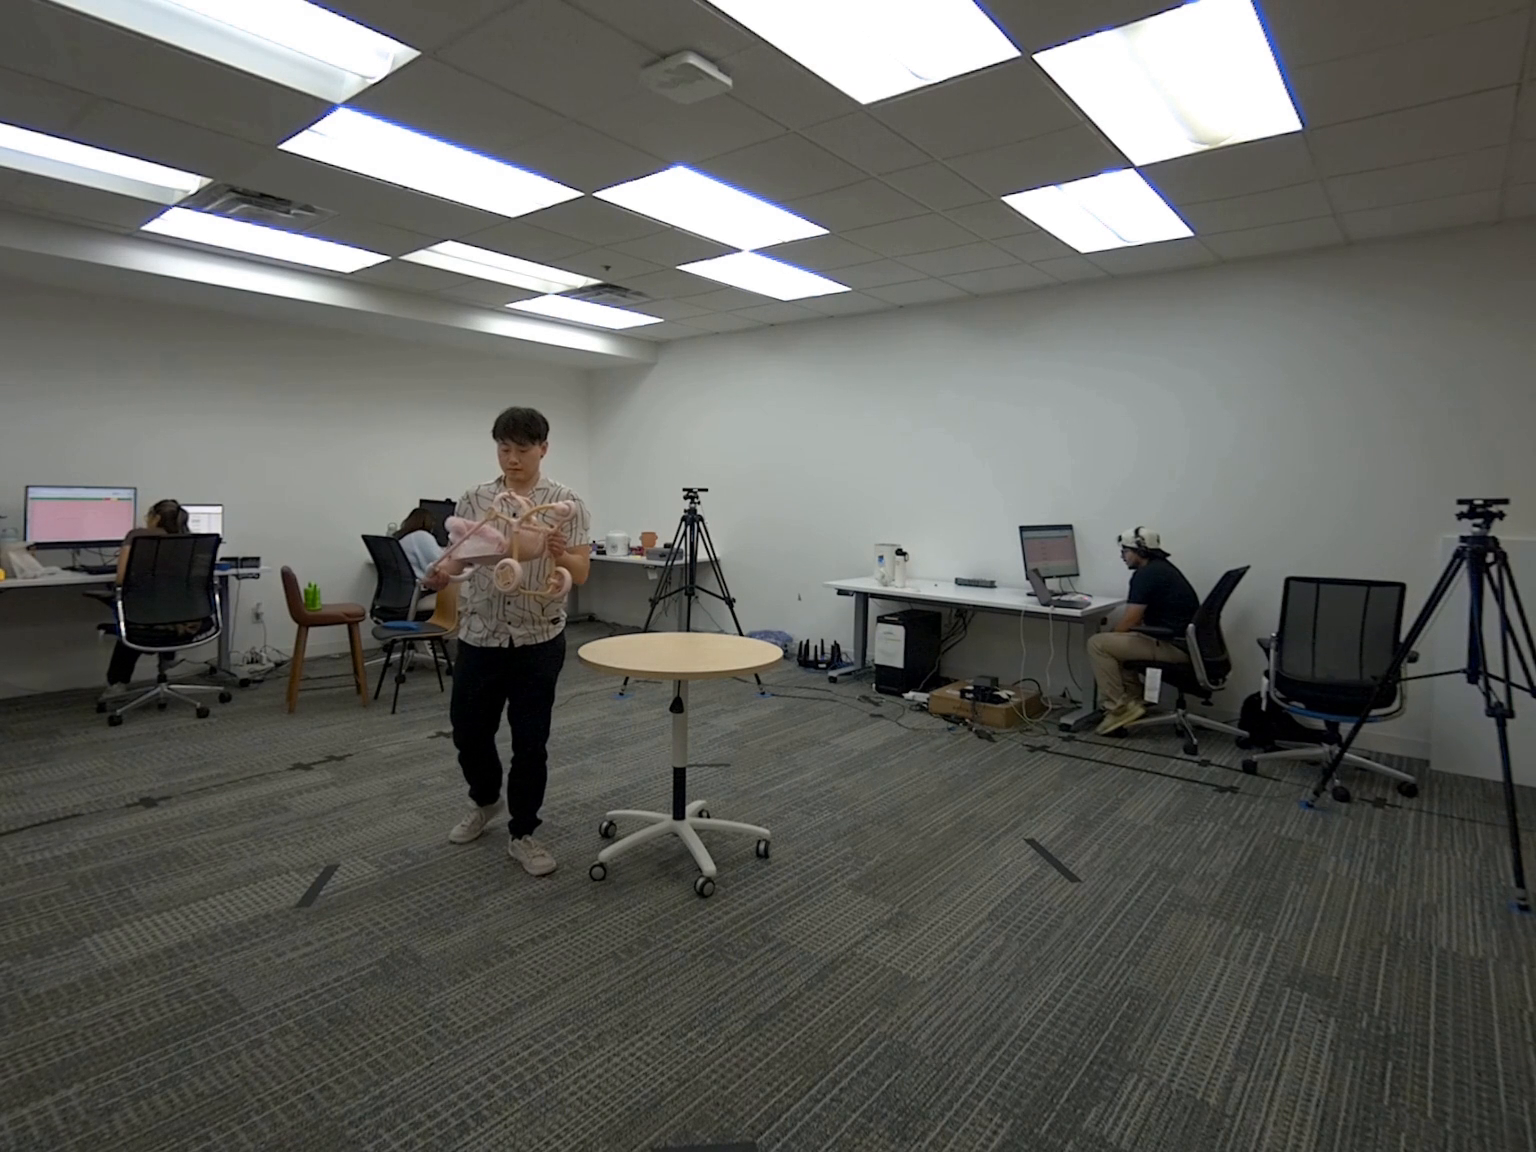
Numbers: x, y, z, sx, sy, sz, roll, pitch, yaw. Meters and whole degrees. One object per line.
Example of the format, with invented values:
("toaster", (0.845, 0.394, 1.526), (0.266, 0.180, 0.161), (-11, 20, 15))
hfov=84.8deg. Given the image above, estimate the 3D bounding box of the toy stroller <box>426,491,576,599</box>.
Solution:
("toy stroller", (-0.887, -0.114, 2.832), (0.551, 0.341, 0.273), (8, 2, 28))
